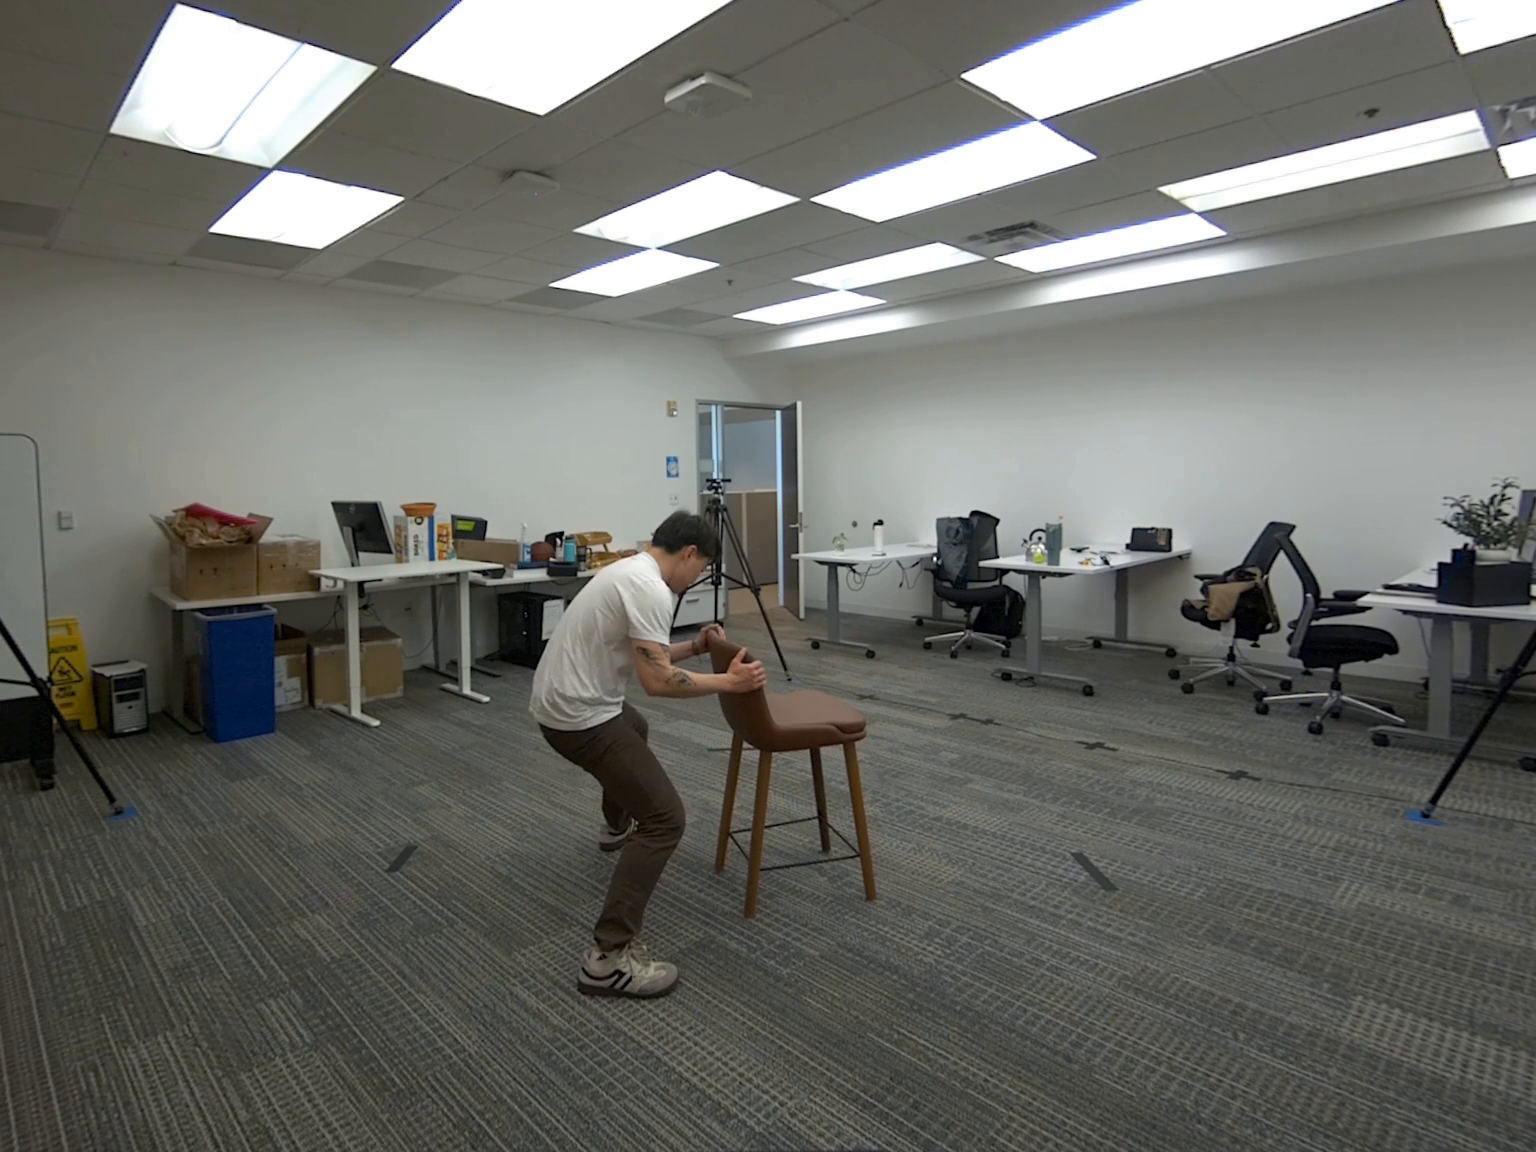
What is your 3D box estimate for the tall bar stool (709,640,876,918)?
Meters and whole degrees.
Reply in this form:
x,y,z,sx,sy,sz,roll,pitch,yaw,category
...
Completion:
x,y,z,sx,sy,sz,roll,pitch,yaw,category
0.065,0.622,2.924,0.460,0.886,0.465,-5,5,-18,tall bar stool
